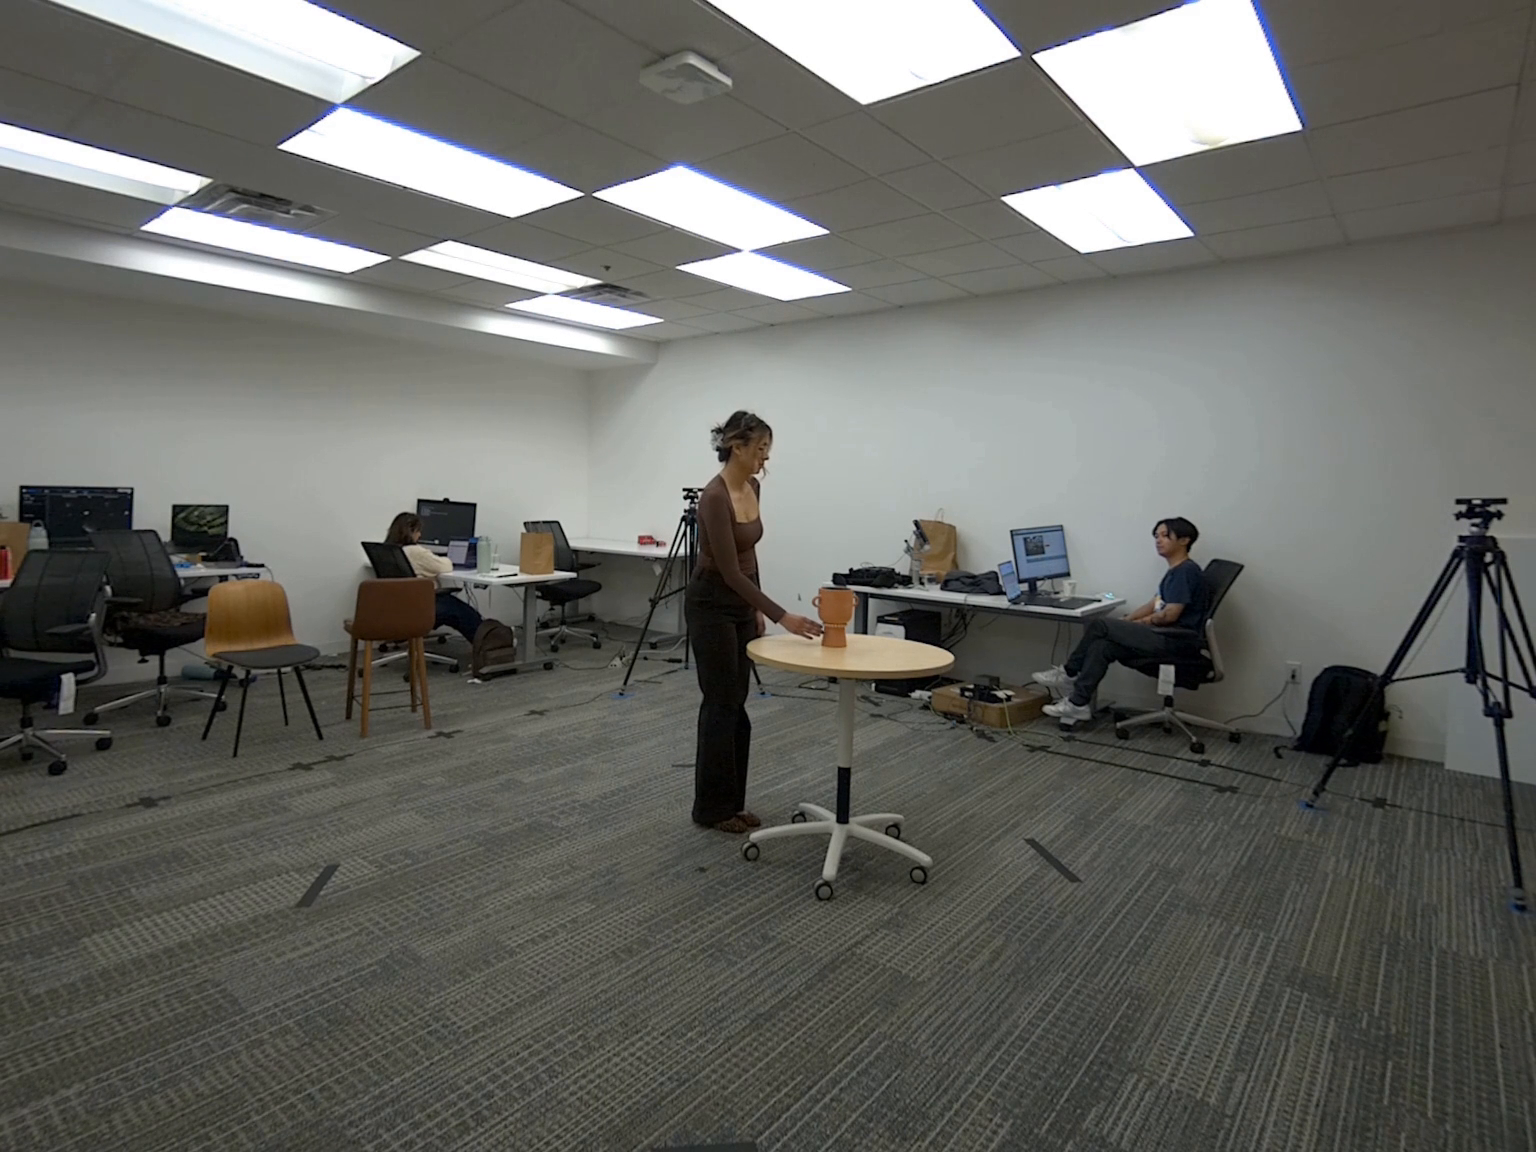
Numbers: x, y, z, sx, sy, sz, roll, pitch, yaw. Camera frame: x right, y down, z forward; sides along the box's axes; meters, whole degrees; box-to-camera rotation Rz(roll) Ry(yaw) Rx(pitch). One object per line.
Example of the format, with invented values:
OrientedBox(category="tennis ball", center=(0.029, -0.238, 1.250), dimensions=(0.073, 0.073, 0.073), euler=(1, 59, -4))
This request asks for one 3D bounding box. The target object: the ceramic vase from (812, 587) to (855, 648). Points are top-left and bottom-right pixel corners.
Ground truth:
OrientedBox(category="ceramic vase", center=(0.246, 0.156, 3.277), dimensions=(0.162, 0.219, 0.132), euler=(4, 2, 16))
